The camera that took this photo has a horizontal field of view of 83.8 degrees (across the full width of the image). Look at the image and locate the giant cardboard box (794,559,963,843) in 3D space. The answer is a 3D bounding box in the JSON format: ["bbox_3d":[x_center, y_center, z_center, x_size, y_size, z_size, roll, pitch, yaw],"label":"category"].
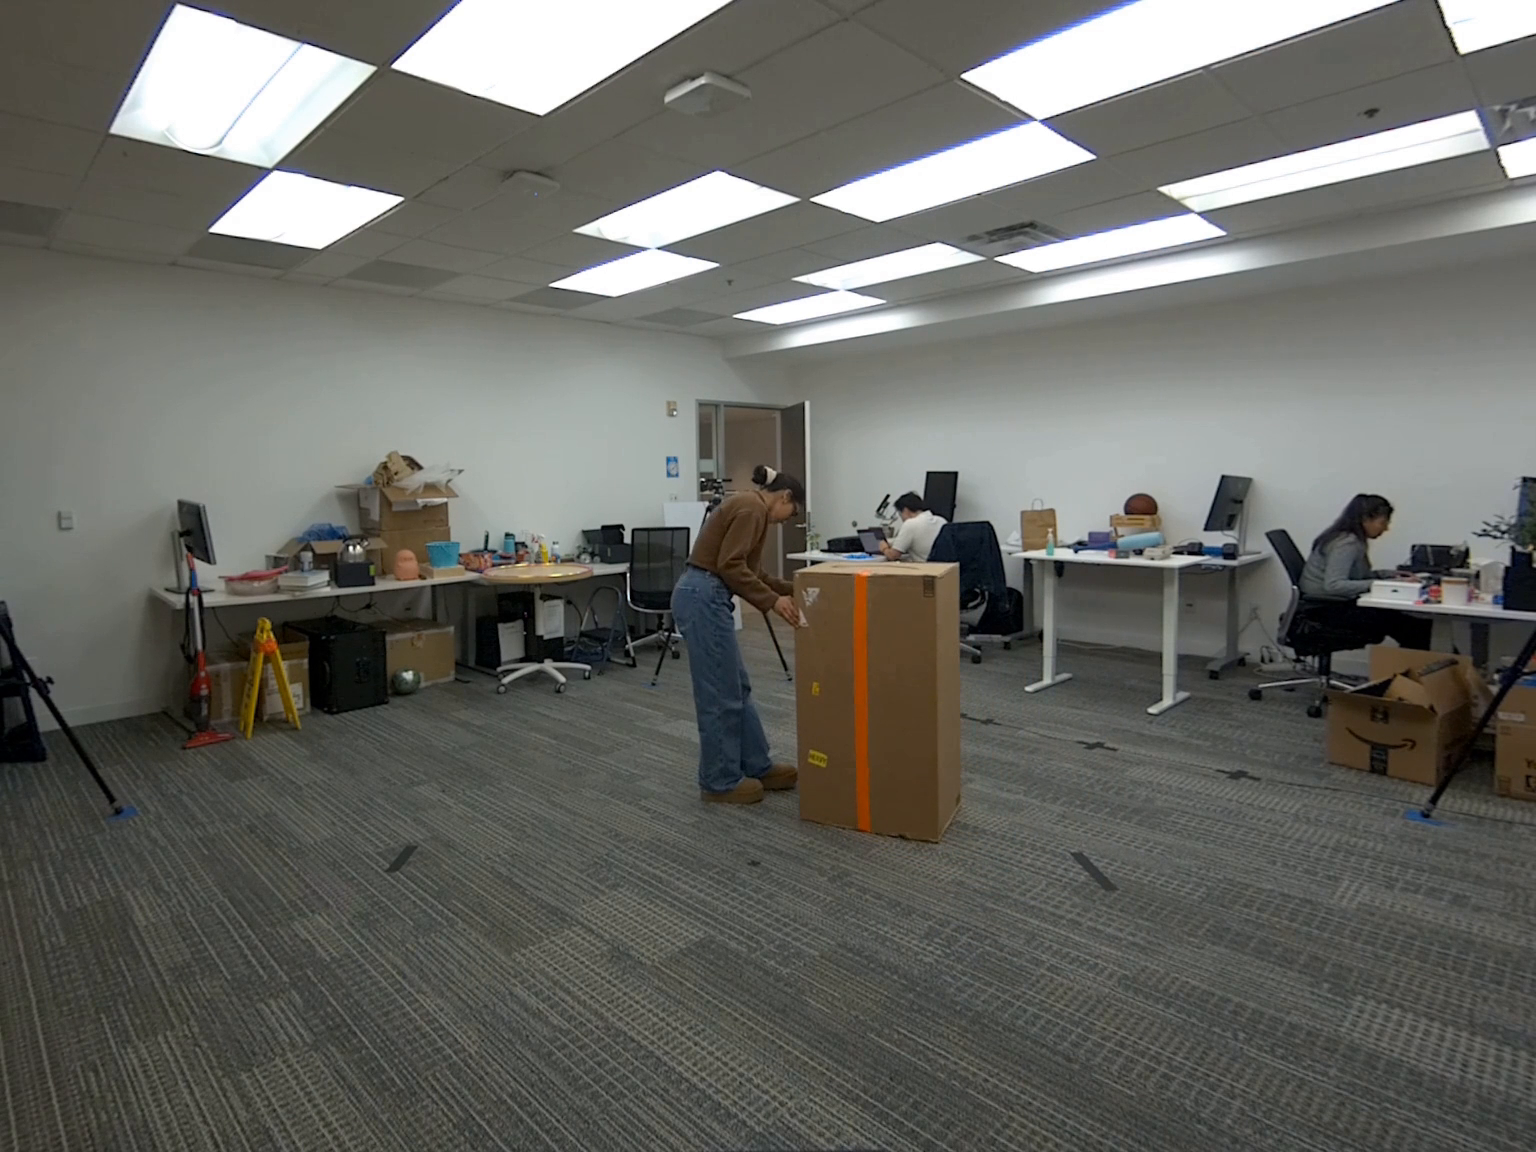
[{"bbox_3d":[0.463,0.476,3.513,0.591,1.022,0.418,1,5,27],"label":"giant cardboard box"}]
